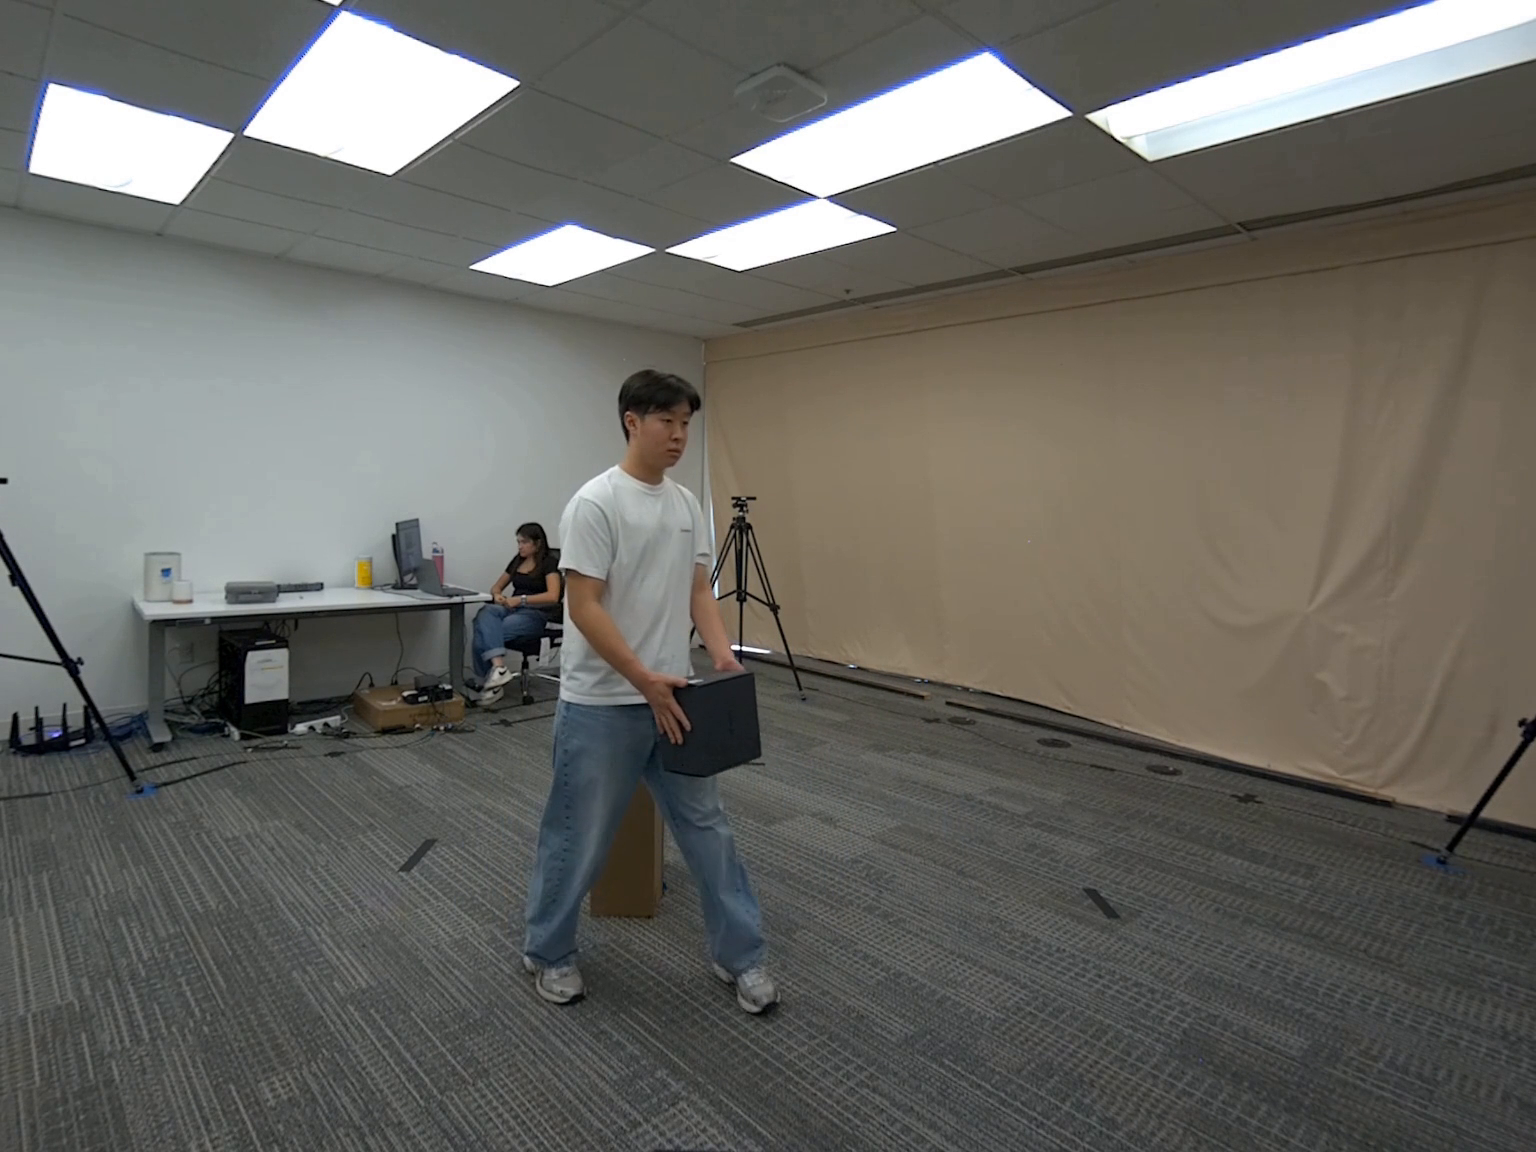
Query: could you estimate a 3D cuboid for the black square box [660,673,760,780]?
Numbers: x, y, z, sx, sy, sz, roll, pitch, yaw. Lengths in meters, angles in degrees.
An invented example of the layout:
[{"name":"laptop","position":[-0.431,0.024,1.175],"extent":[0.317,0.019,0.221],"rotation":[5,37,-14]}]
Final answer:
[{"name":"black square box","position":[-0.160,0.382,2.176],"extent":[0.159,0.228,0.212],"rotation":[-5,-1,39]}]
